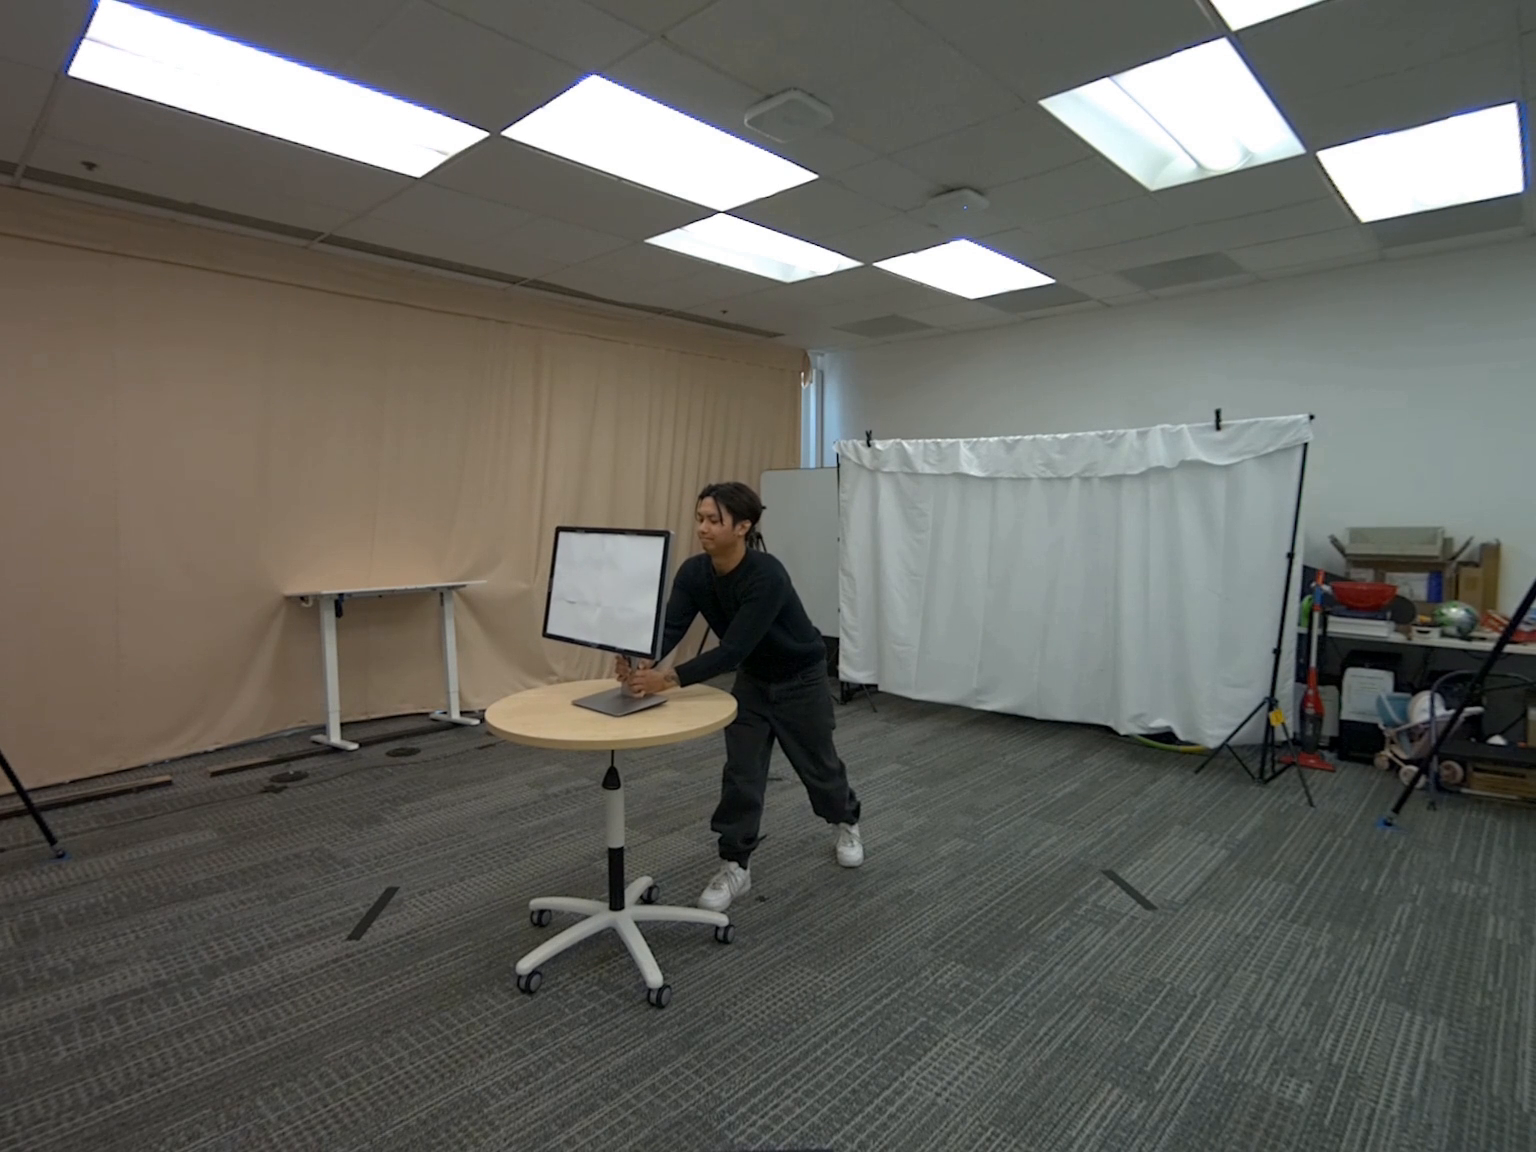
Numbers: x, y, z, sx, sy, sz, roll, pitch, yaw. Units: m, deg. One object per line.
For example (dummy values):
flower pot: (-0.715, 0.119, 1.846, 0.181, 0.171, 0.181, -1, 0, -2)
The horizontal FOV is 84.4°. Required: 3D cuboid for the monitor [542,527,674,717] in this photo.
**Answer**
monitor: (-0.466, 0.128, 2.572, 0.557, 0.521, 0.181, 4, 8, 41)
